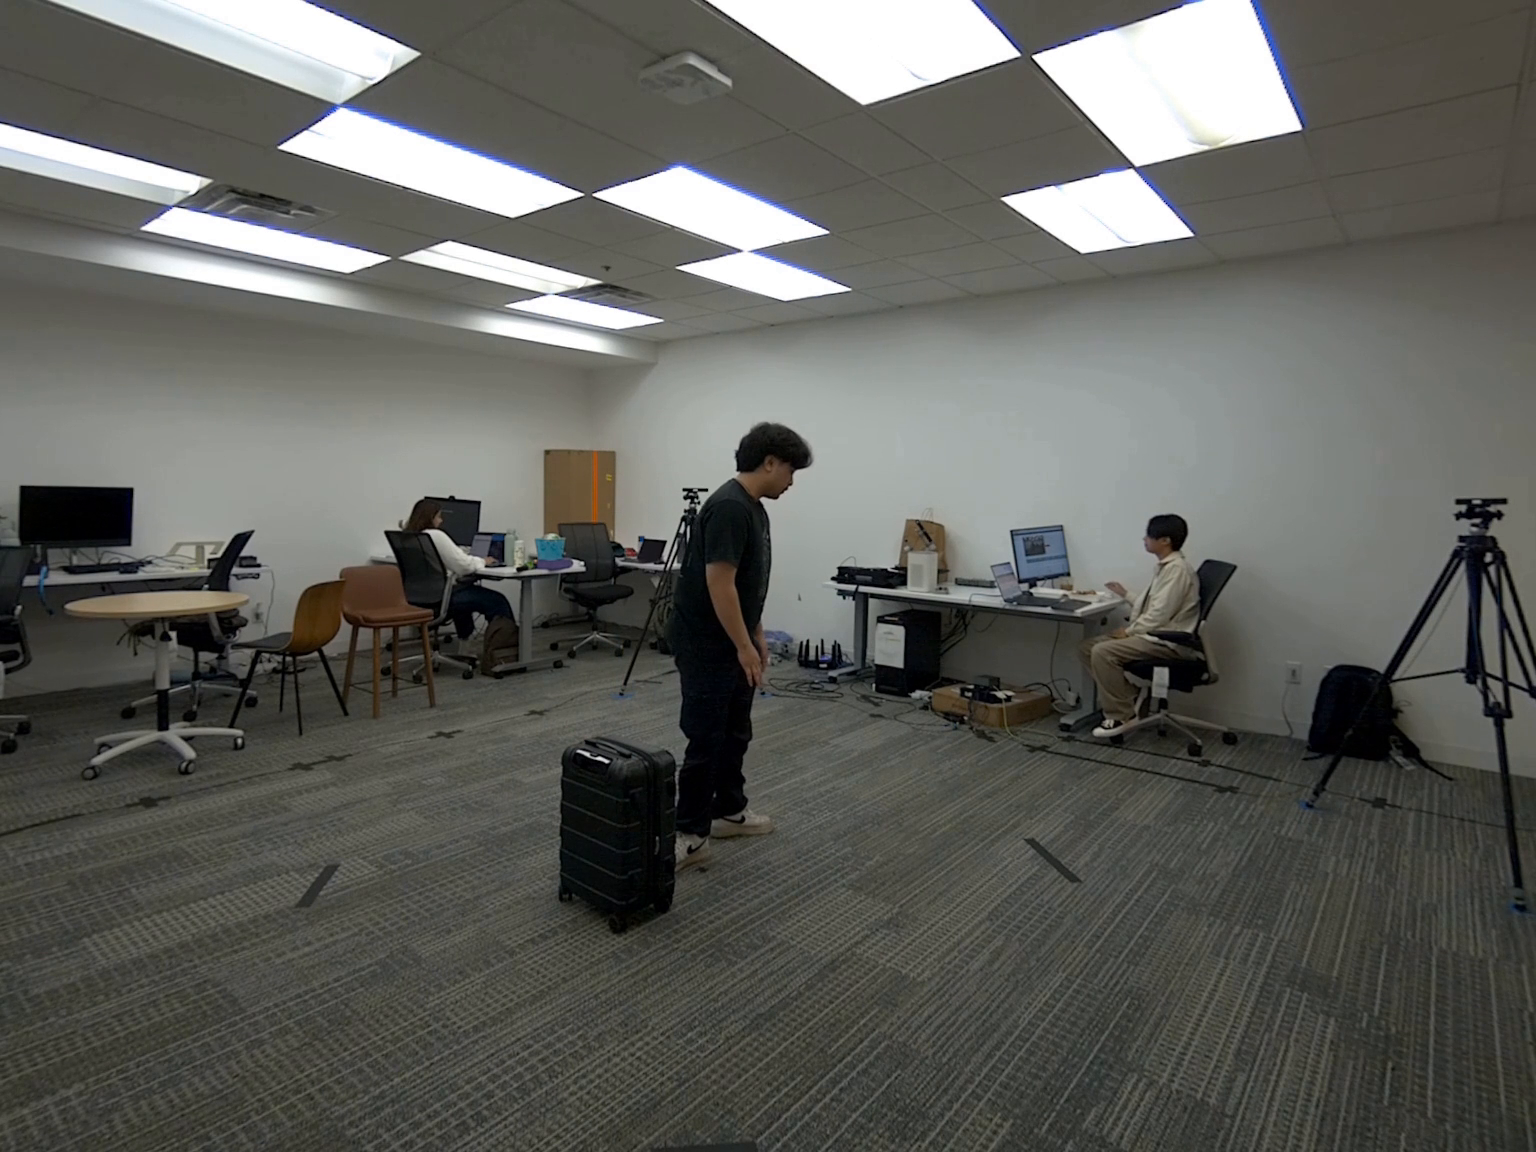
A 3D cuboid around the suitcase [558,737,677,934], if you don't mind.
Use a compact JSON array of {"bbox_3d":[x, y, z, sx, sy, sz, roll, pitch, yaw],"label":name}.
[{"bbox_3d":[-0.513,0.816,2.808,0.388,0.548,0.241,5,5,42],"label":"suitcase"}]
